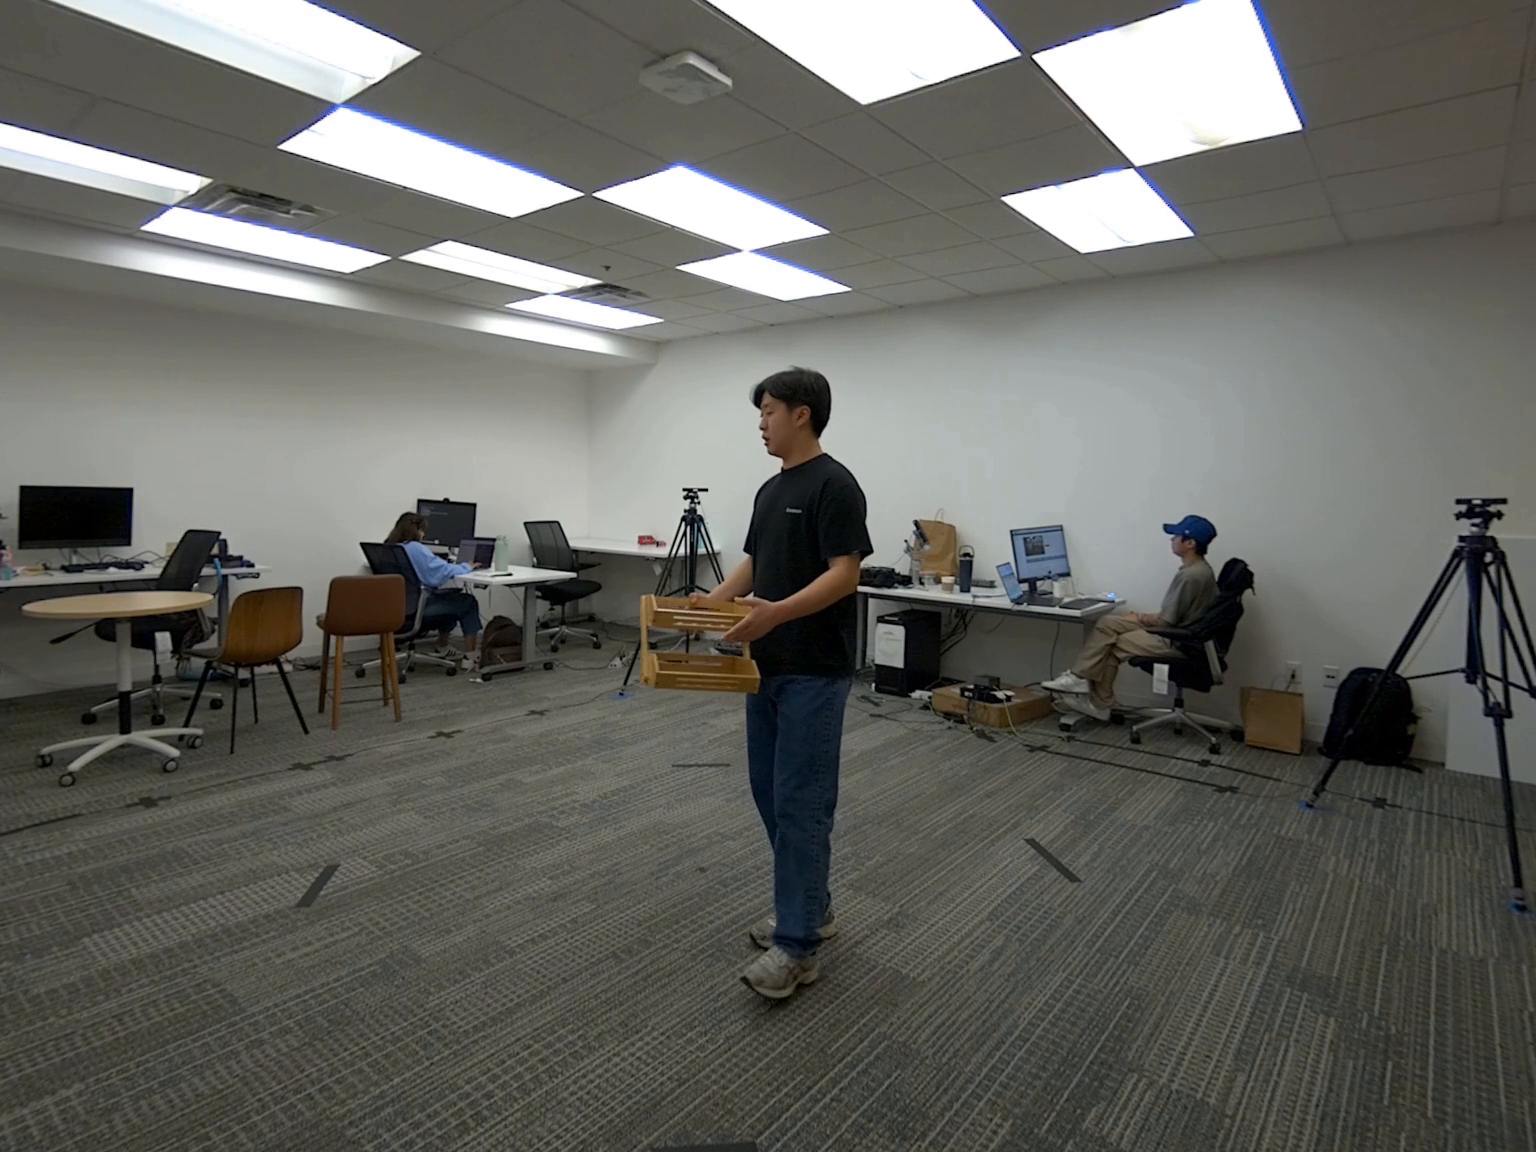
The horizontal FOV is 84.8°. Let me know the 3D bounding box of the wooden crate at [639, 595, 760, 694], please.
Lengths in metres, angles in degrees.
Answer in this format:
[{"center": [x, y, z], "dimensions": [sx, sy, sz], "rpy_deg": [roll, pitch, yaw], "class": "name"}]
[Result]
[{"center": [-0.218, 0.190, 2.509], "dimensions": [0.320, 0.275, 0.305], "rpy_deg": [5, -5, -14], "class": "wooden crate"}]
